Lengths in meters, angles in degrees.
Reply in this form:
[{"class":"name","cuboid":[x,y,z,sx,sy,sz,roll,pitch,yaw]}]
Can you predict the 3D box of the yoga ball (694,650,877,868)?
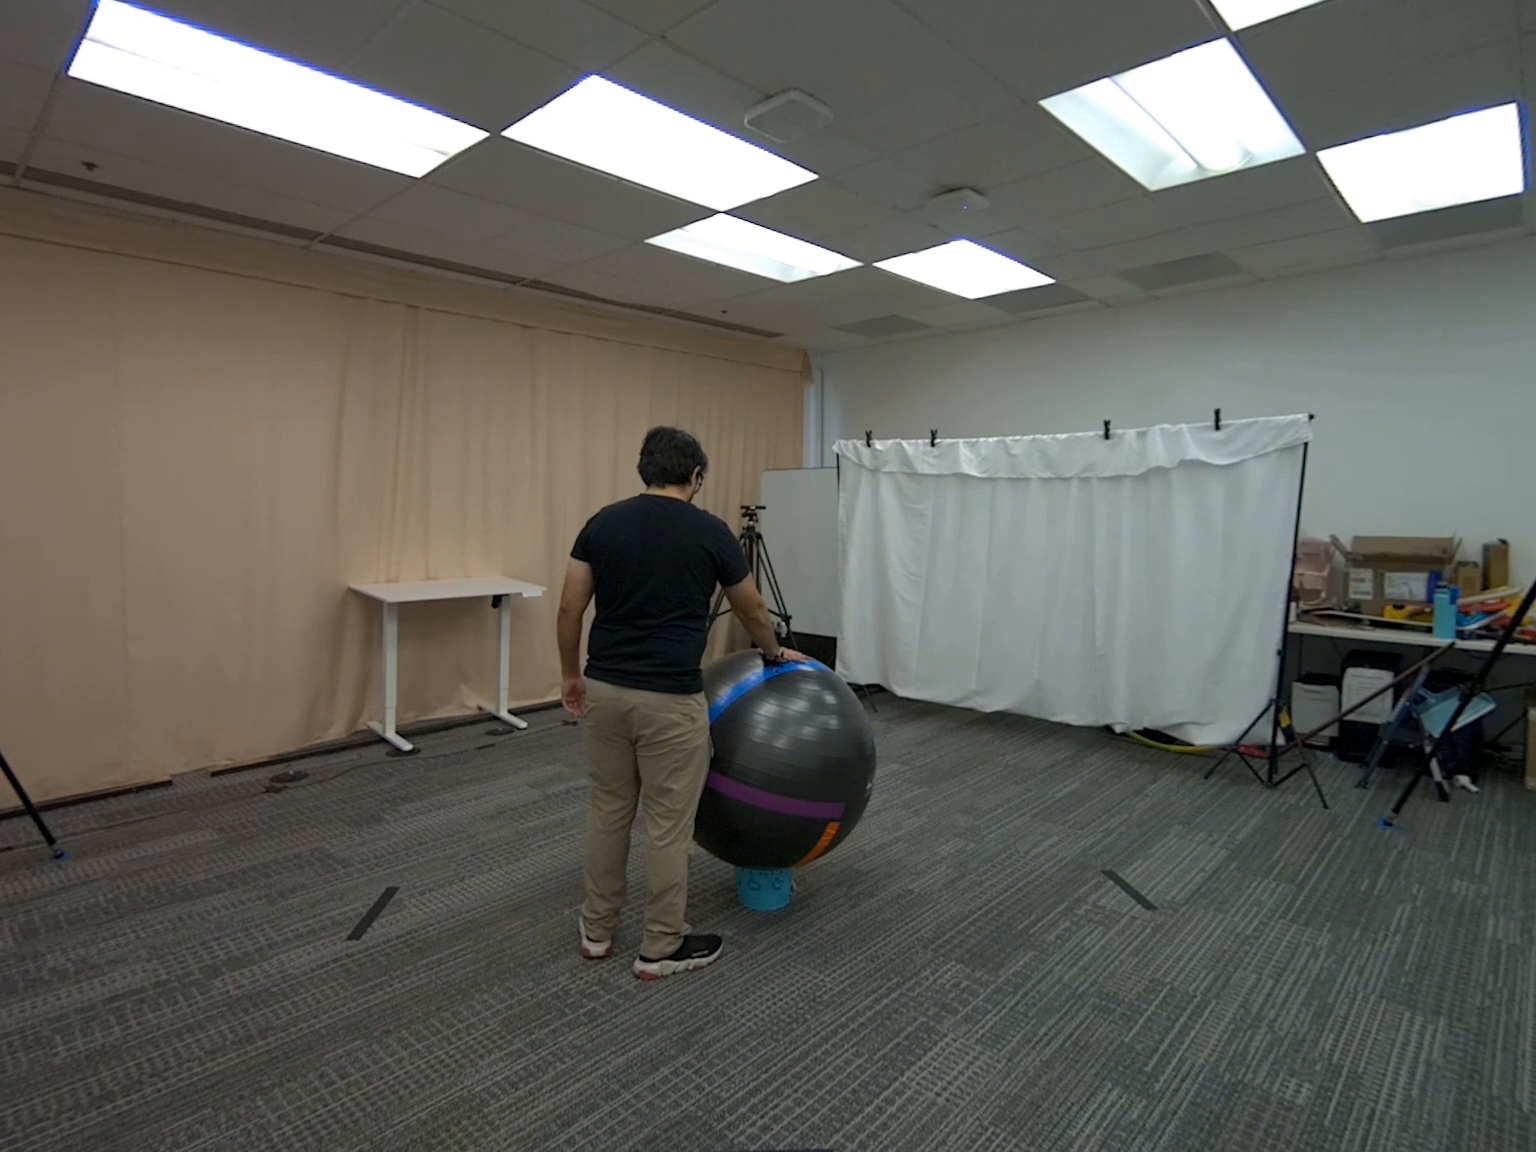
[{"class":"yoga ball","cuboid":[0.006,0.635,2.963,0.757,0.756,0.760,0,4,-2]}]
